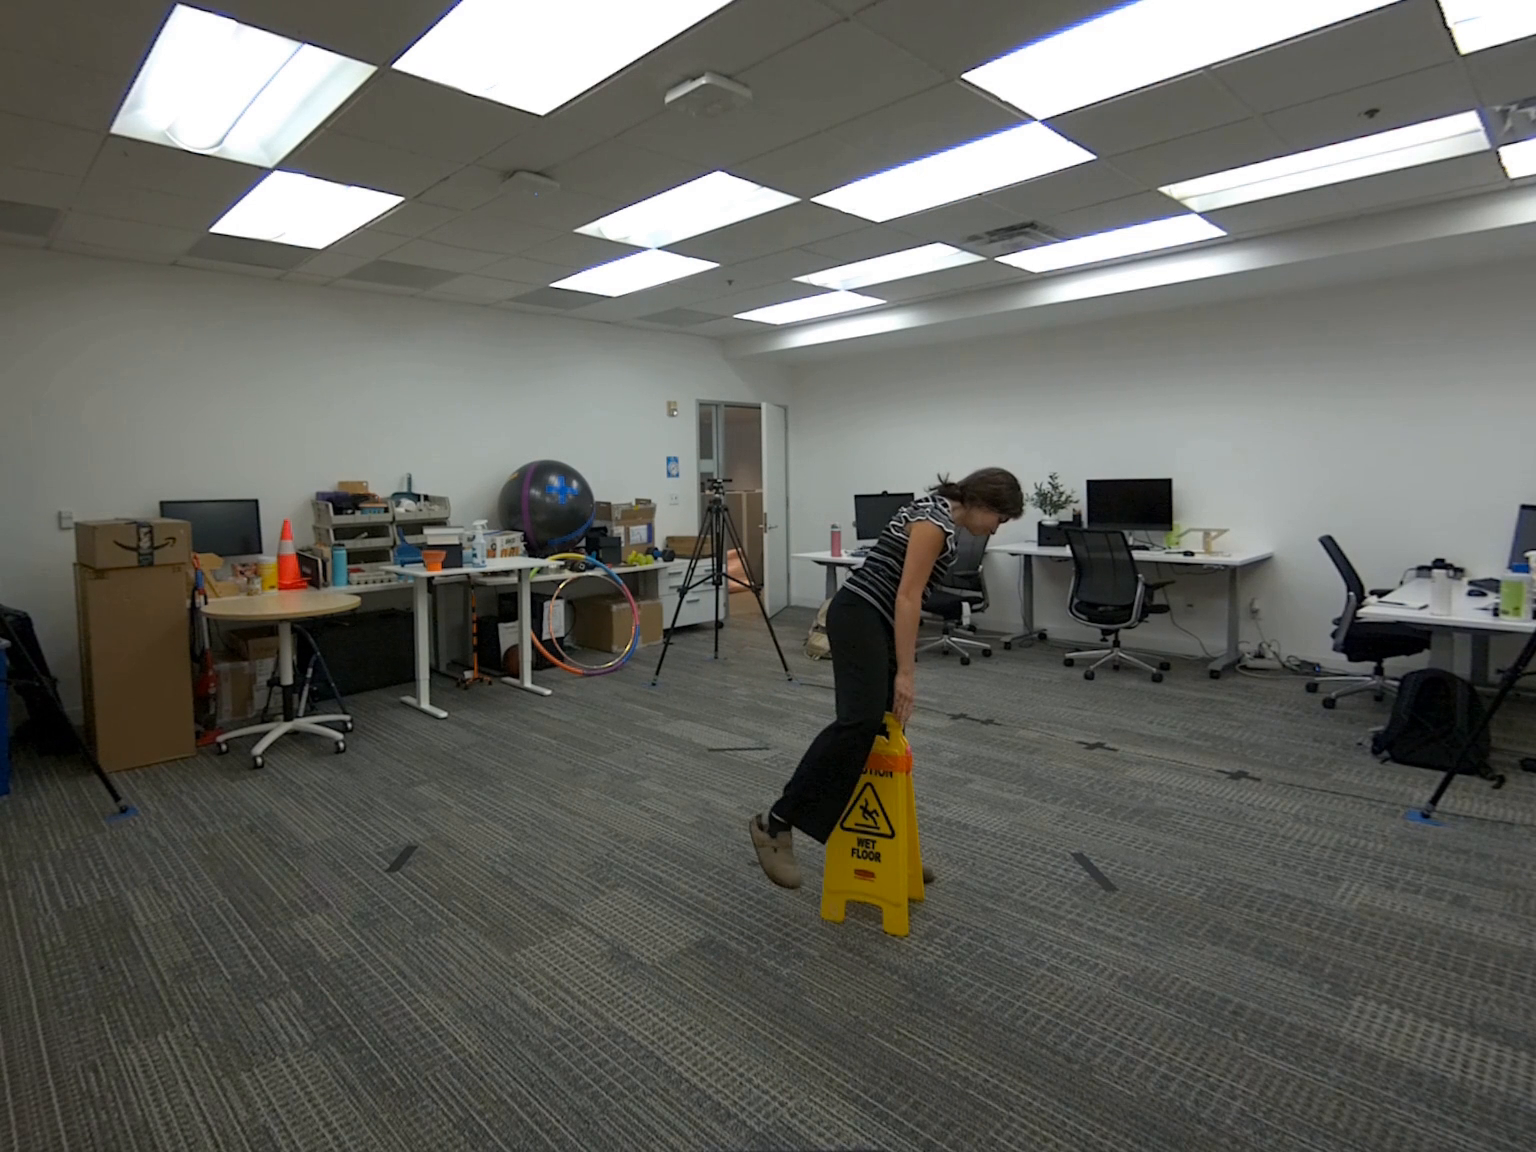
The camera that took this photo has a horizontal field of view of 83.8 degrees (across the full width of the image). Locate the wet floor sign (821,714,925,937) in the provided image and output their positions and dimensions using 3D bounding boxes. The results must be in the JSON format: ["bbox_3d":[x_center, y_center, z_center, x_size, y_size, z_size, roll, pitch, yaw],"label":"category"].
[{"bbox_3d":[0.339,0.757,2.739,0.288,0.643,0.285,1,6,21],"label":"wet floor sign"}]
